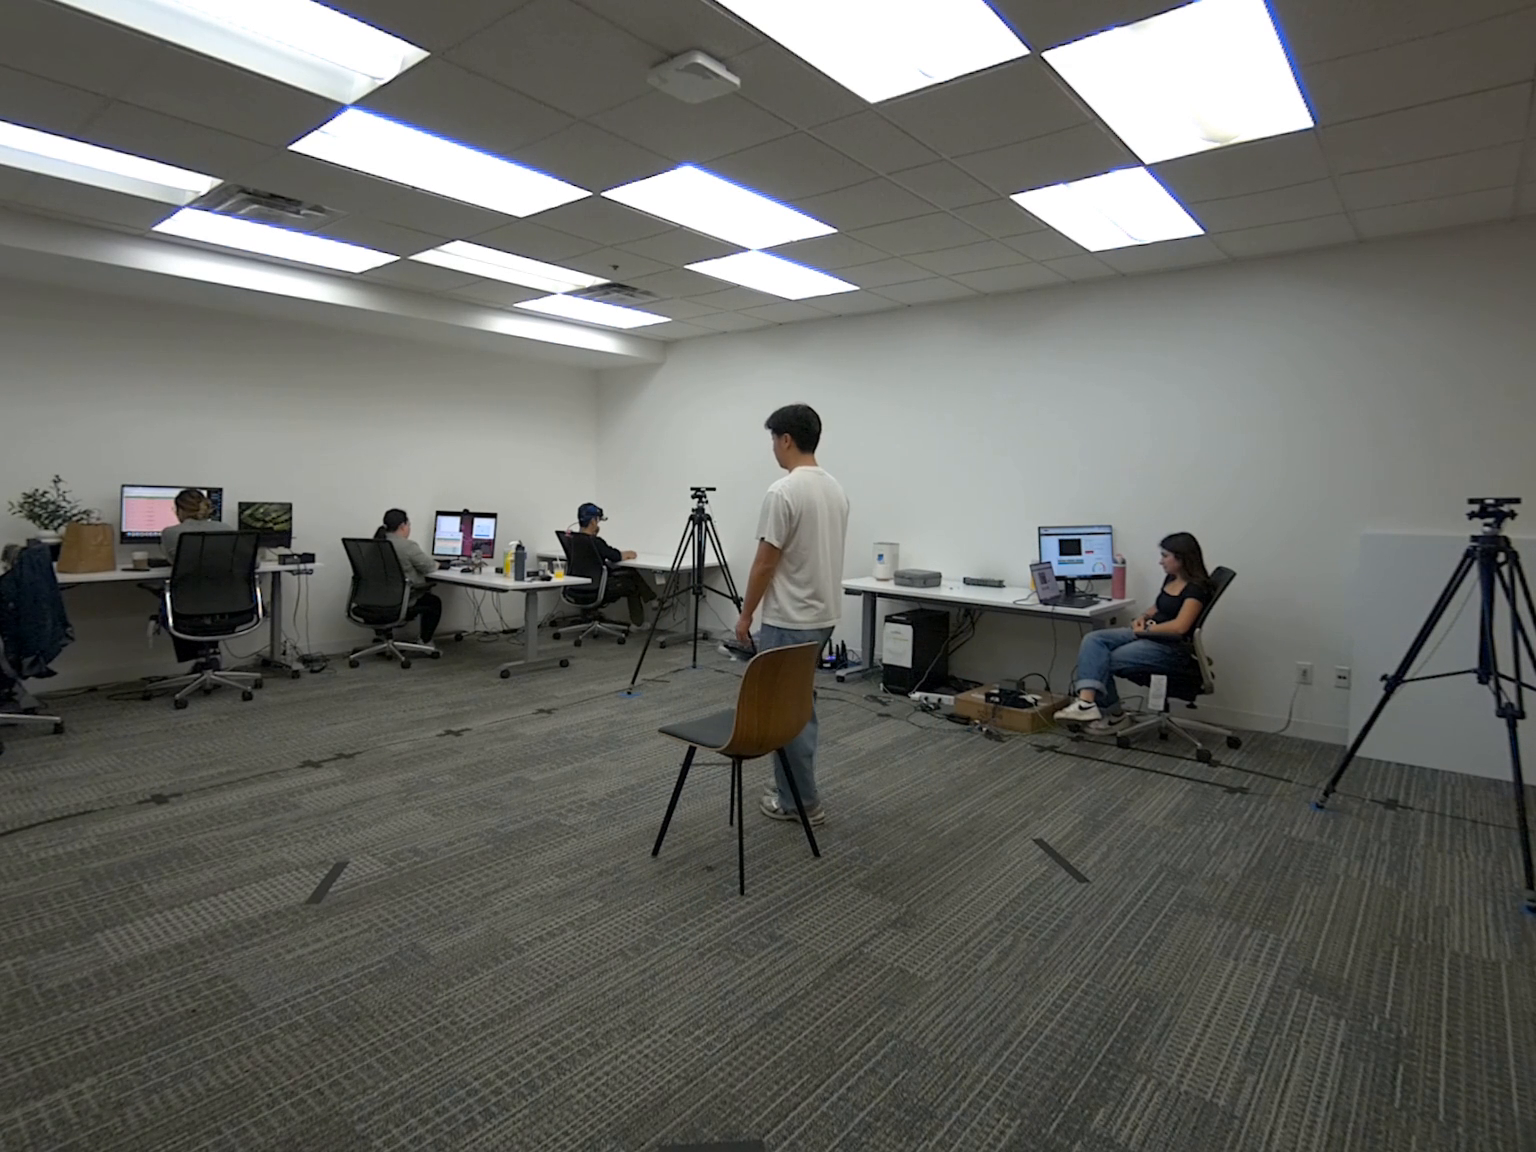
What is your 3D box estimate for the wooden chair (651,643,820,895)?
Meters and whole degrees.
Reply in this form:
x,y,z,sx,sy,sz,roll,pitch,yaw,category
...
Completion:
x,y,z,sx,sy,sz,roll,pitch,yaw,category
-0.128,0.633,3.188,0.542,0.873,0.463,10,8,40,wooden chair
